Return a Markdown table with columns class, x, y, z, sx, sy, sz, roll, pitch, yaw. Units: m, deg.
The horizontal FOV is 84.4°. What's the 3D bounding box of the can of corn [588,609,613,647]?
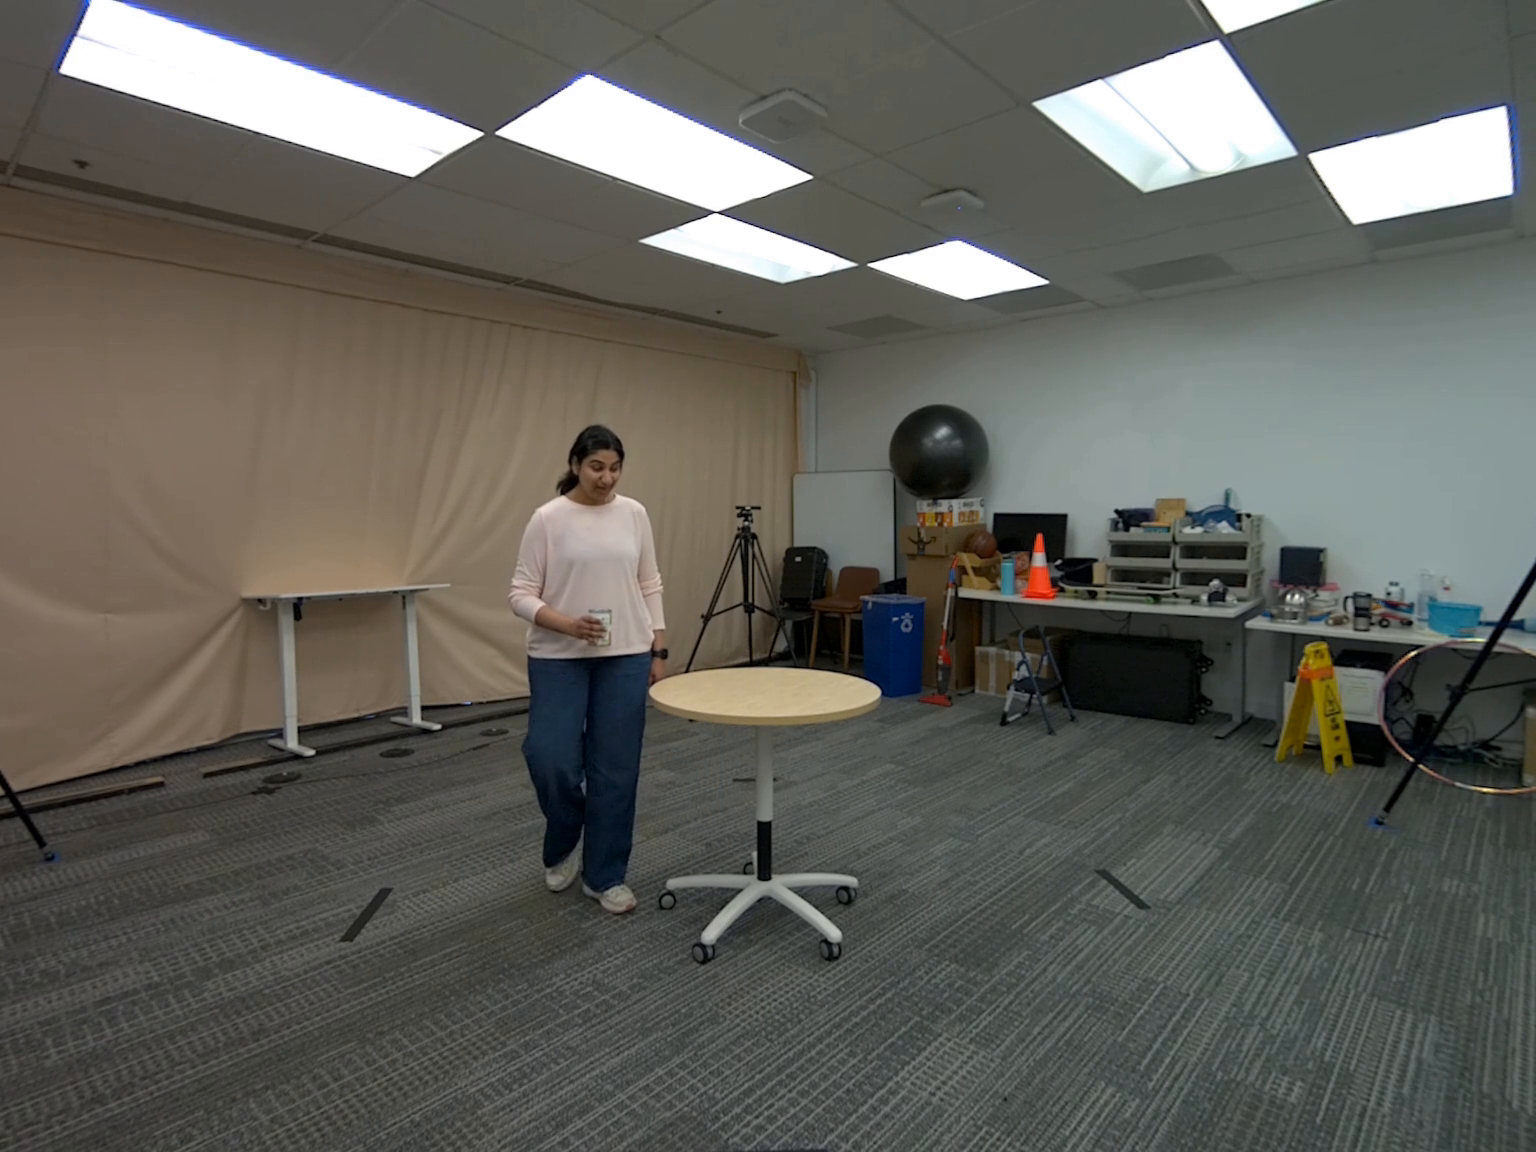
| class | x | y | z | sx | sy | sz | roll | pitch | yaw |
| --- | --- | --- | --- | --- | --- | --- | --- | --- | --- |
| can of corn | -0.549 | 0.167 | 2.722 | 0.074 | 0.111 | 0.074 | -1 | 5 | -2 |
